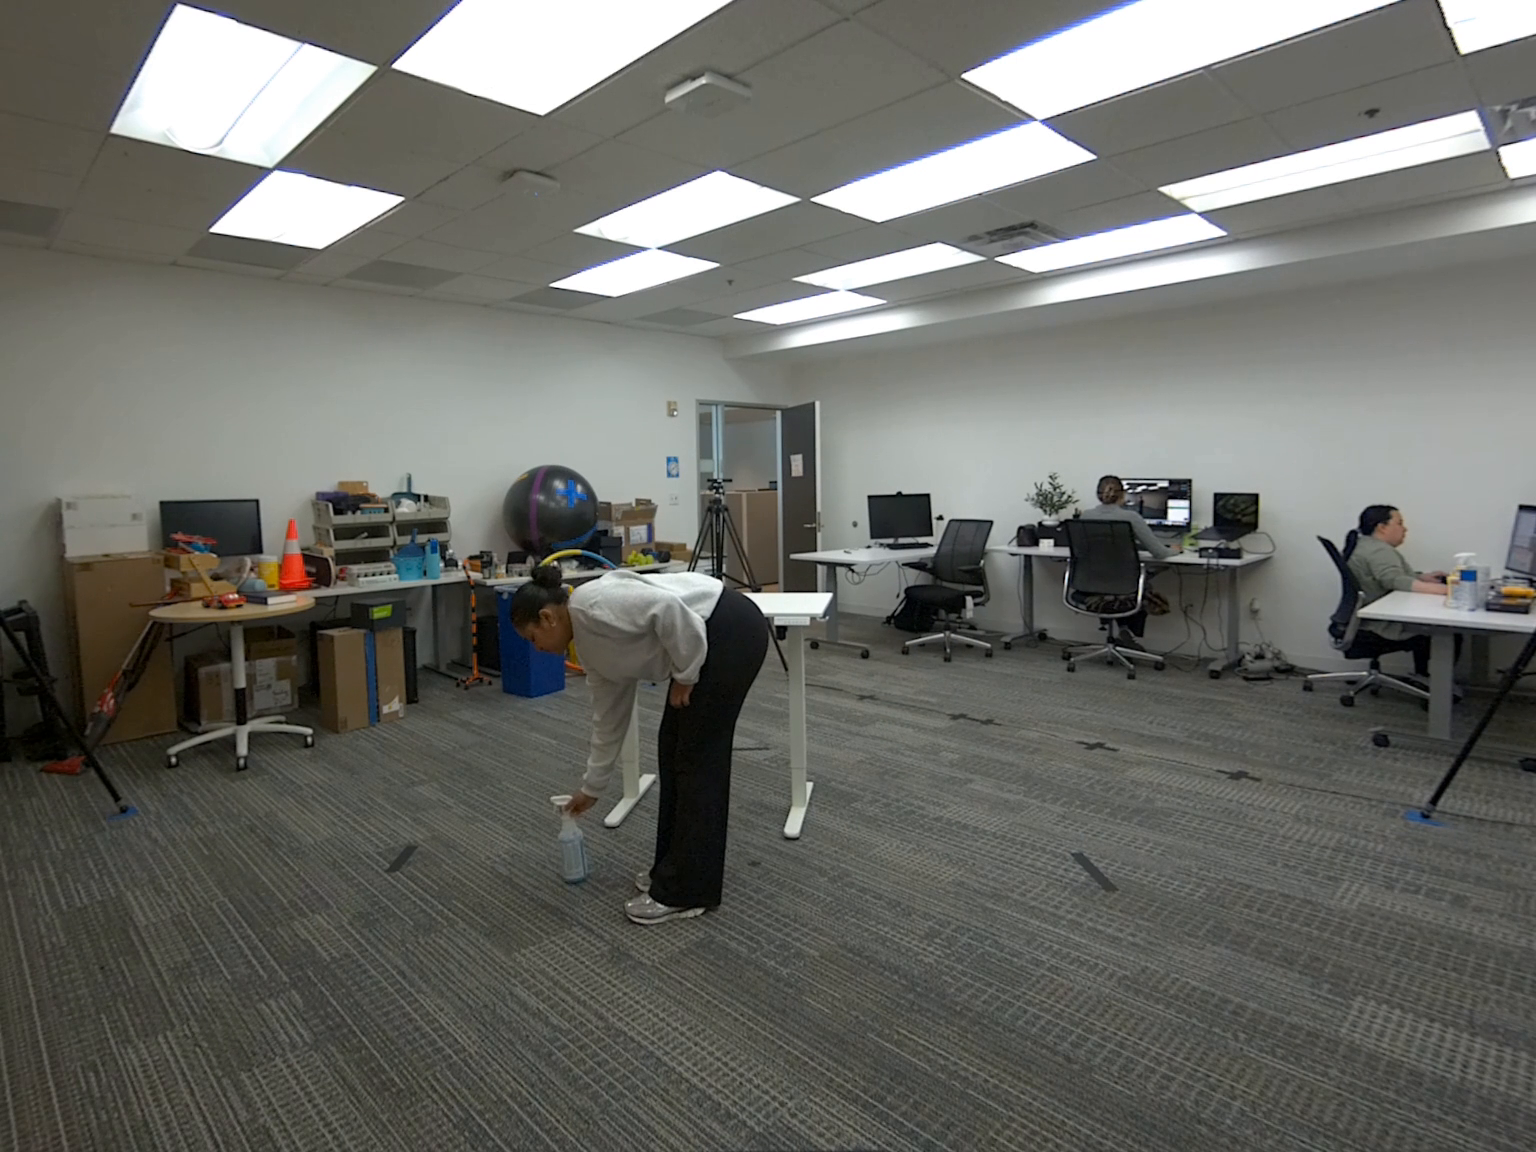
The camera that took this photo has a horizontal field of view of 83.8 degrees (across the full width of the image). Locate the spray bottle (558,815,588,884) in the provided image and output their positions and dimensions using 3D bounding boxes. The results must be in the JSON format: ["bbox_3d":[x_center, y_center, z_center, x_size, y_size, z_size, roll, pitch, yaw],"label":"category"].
[{"bbox_3d":[-0.698,0.913,3.000,0.092,0.295,0.086,-6,7,27],"label":"spray bottle"}]
